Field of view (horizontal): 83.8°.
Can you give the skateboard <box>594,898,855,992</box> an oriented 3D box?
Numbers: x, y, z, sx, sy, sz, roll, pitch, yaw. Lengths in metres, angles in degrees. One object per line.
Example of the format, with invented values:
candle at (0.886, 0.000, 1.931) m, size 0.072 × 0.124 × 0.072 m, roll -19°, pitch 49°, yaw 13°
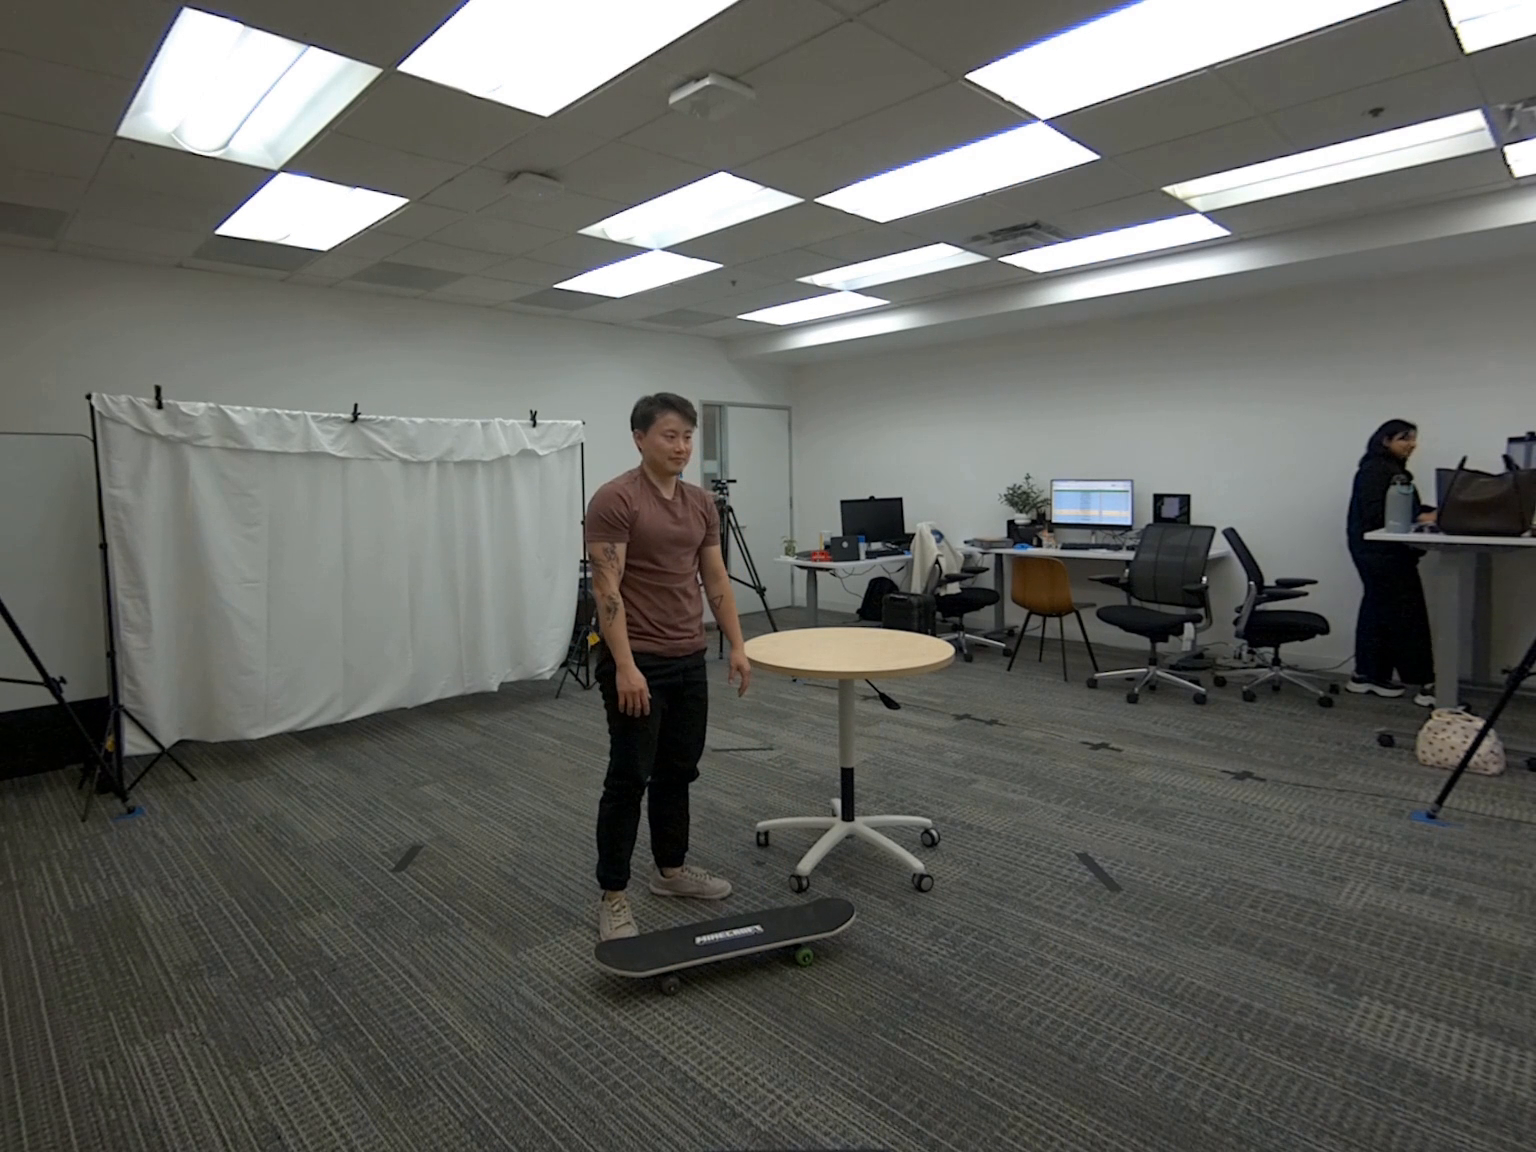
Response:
skateboard at (-0.108, 1.062, 2.473) m, size 0.773 × 0.110 × 0.197 m, roll -3°, pitch 6°, yaw -17°
